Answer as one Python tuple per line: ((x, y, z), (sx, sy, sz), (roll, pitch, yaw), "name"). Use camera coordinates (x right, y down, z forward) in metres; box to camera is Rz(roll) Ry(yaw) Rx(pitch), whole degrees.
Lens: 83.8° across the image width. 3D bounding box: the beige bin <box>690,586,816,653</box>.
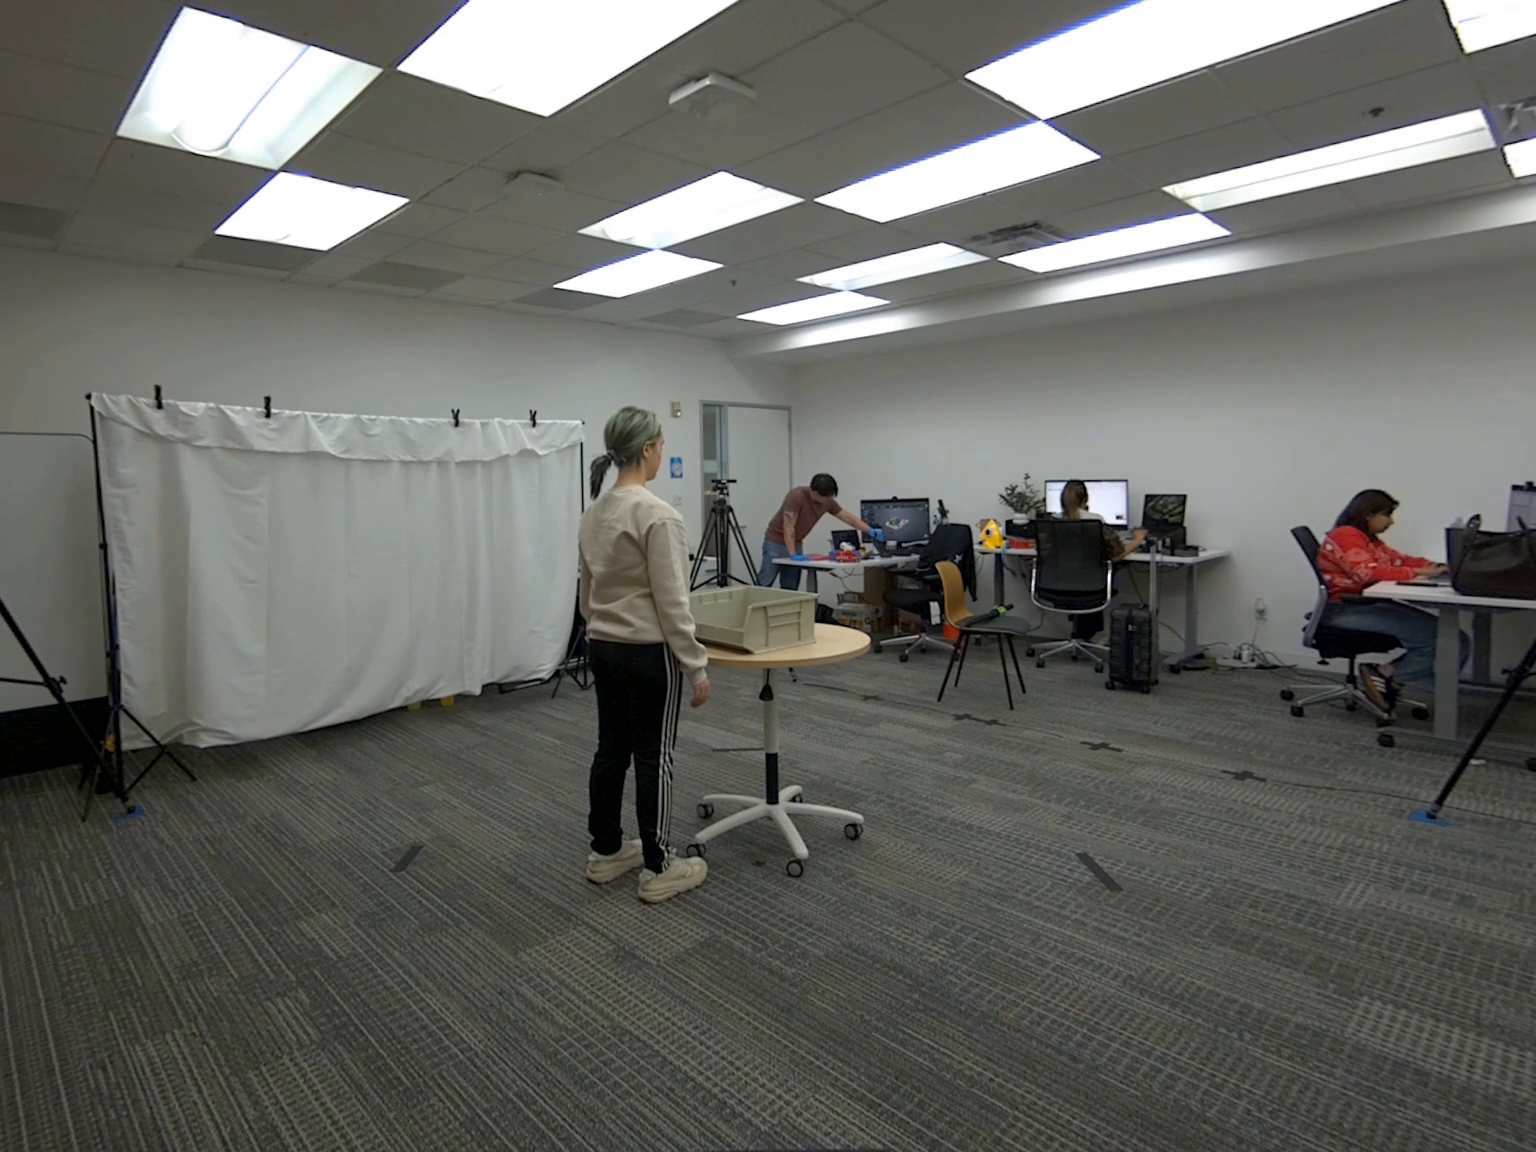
((-0.083, 0.161, 3.235), (0.367, 0.188, 0.435), (-5, 7, -40), "beige bin")
